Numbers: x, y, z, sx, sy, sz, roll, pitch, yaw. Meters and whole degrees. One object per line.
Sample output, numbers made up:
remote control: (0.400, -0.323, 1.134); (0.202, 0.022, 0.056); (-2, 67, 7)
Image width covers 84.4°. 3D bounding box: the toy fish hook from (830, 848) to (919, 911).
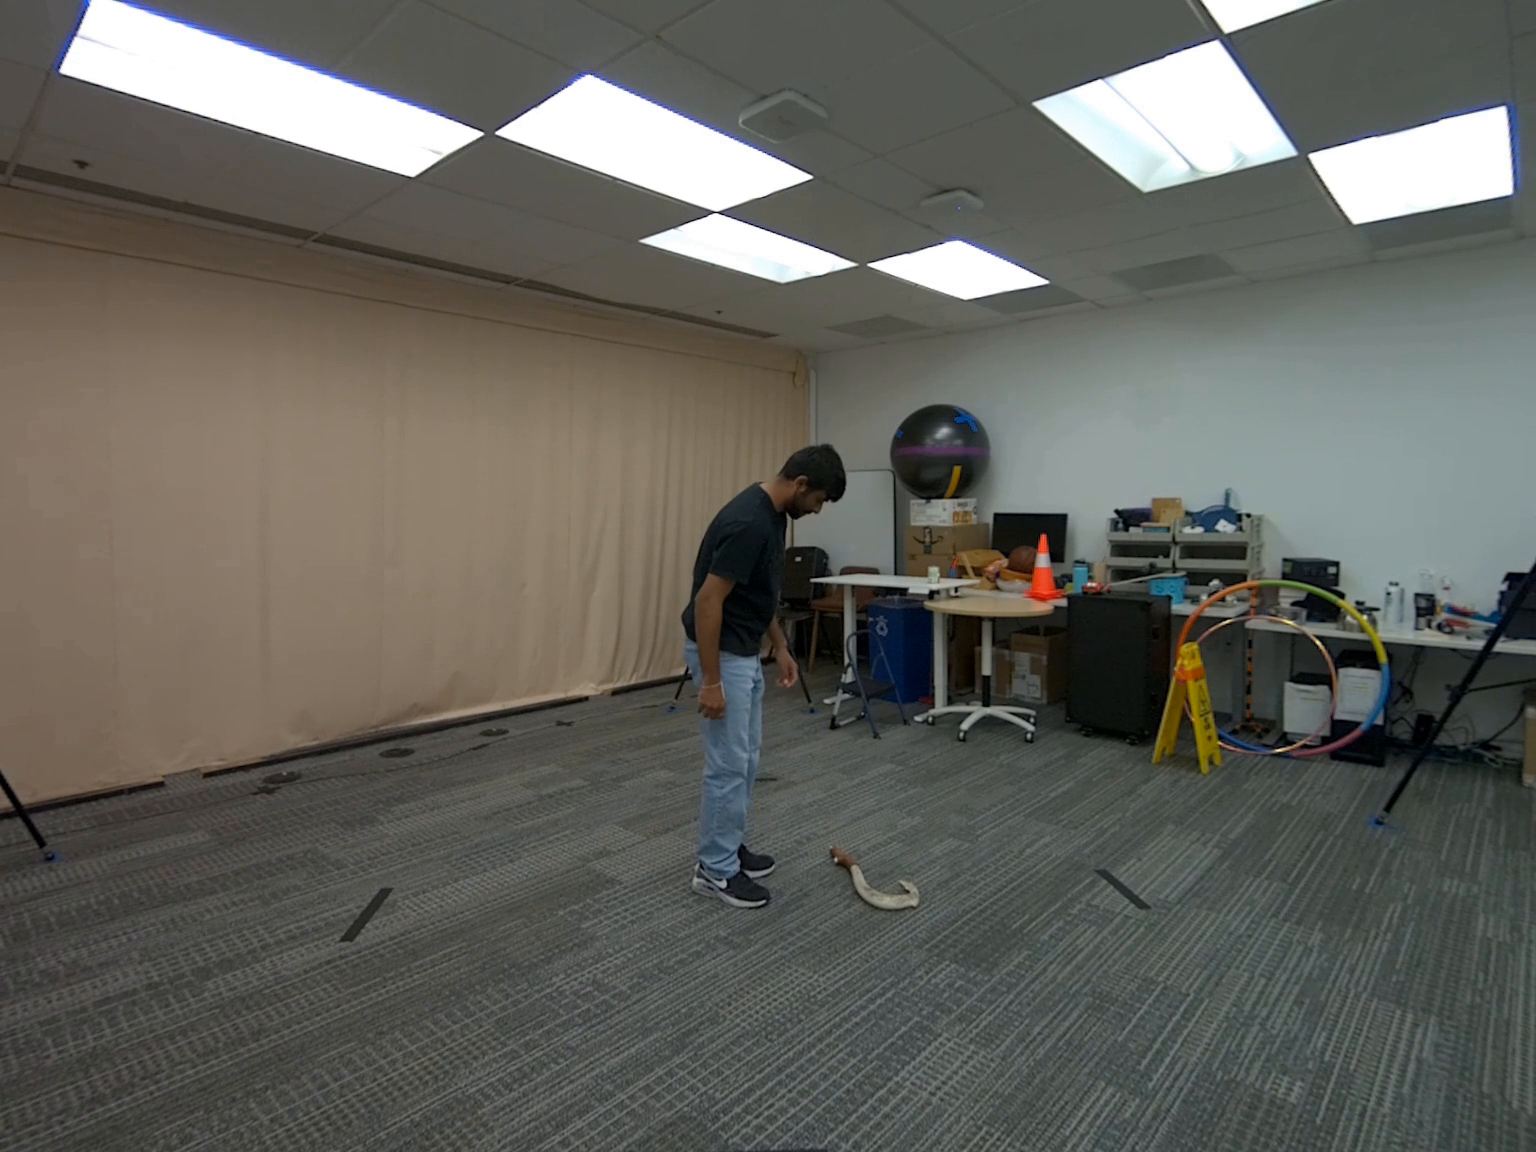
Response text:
toy fish hook: (0.391, 1.115, 3.134); (0.220, 0.048, 0.517); (6, 3, -18)
